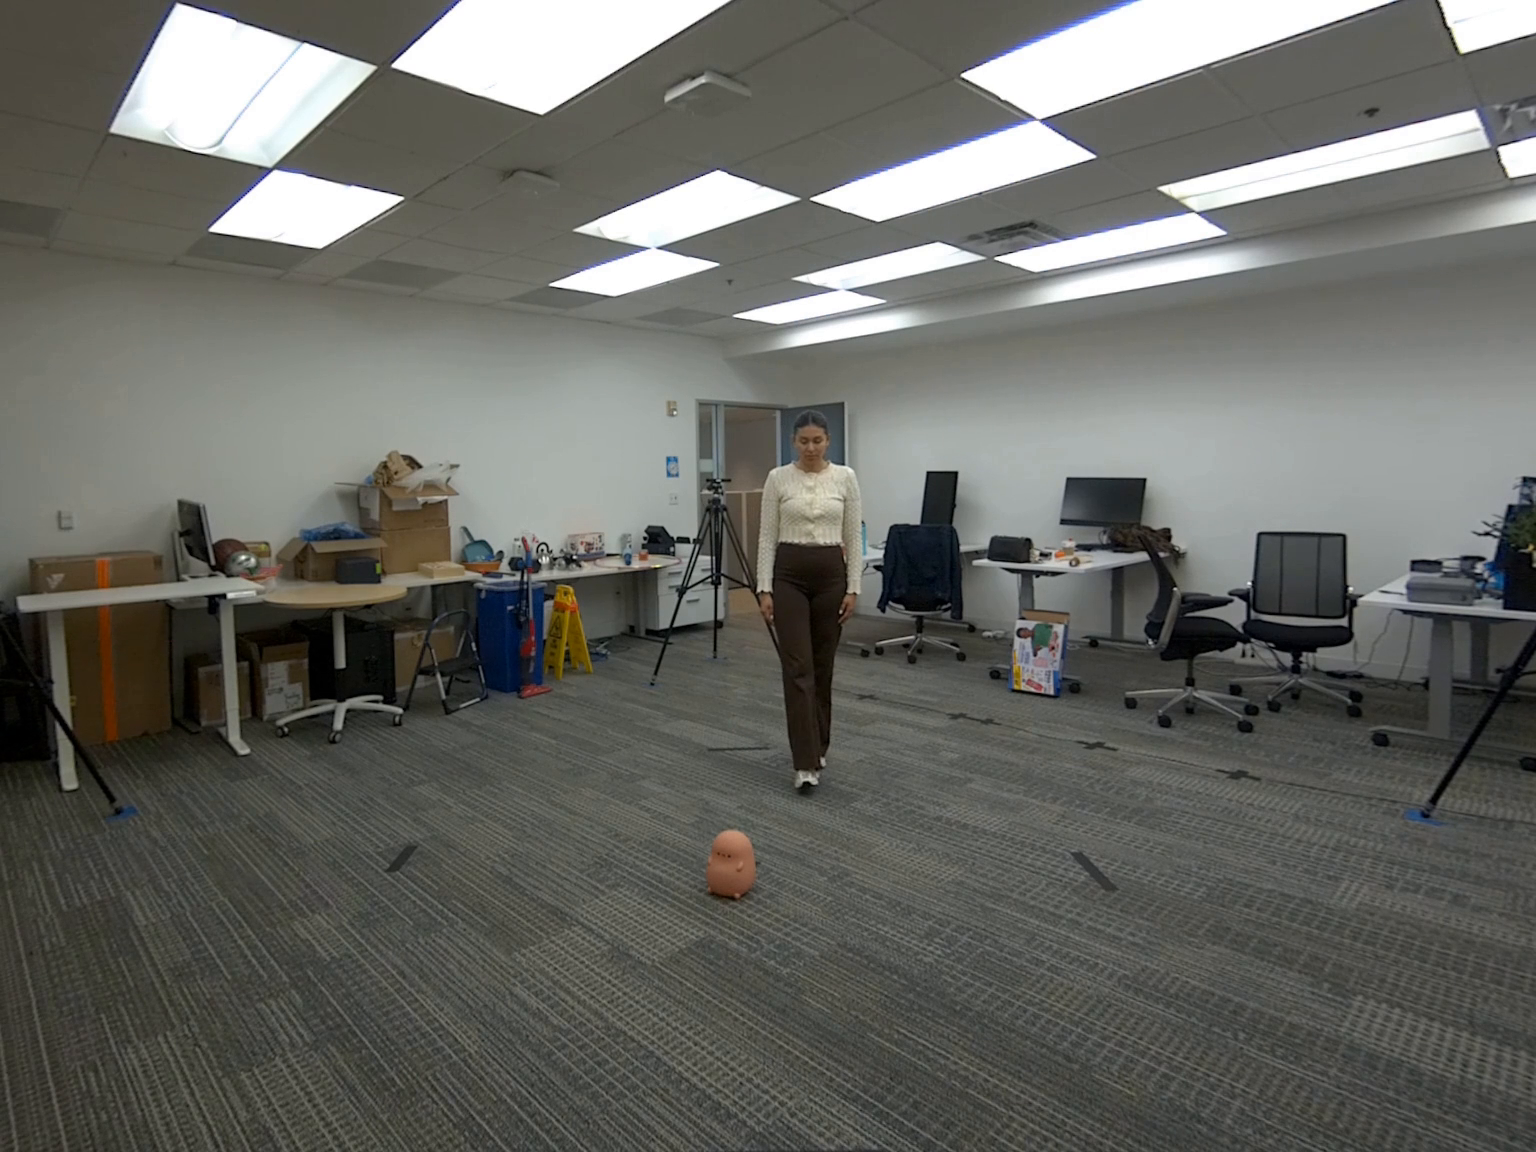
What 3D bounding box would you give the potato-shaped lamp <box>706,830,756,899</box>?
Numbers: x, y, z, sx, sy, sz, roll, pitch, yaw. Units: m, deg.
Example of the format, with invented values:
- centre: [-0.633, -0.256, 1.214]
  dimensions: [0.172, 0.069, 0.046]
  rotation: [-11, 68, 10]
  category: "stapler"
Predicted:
- centre: [-0.118, 0.968, 2.904]
  dimensions: [0.169, 0.198, 0.167]
  rotation: [-1, 1, 28]
  category: "potato-shaped lamp"
